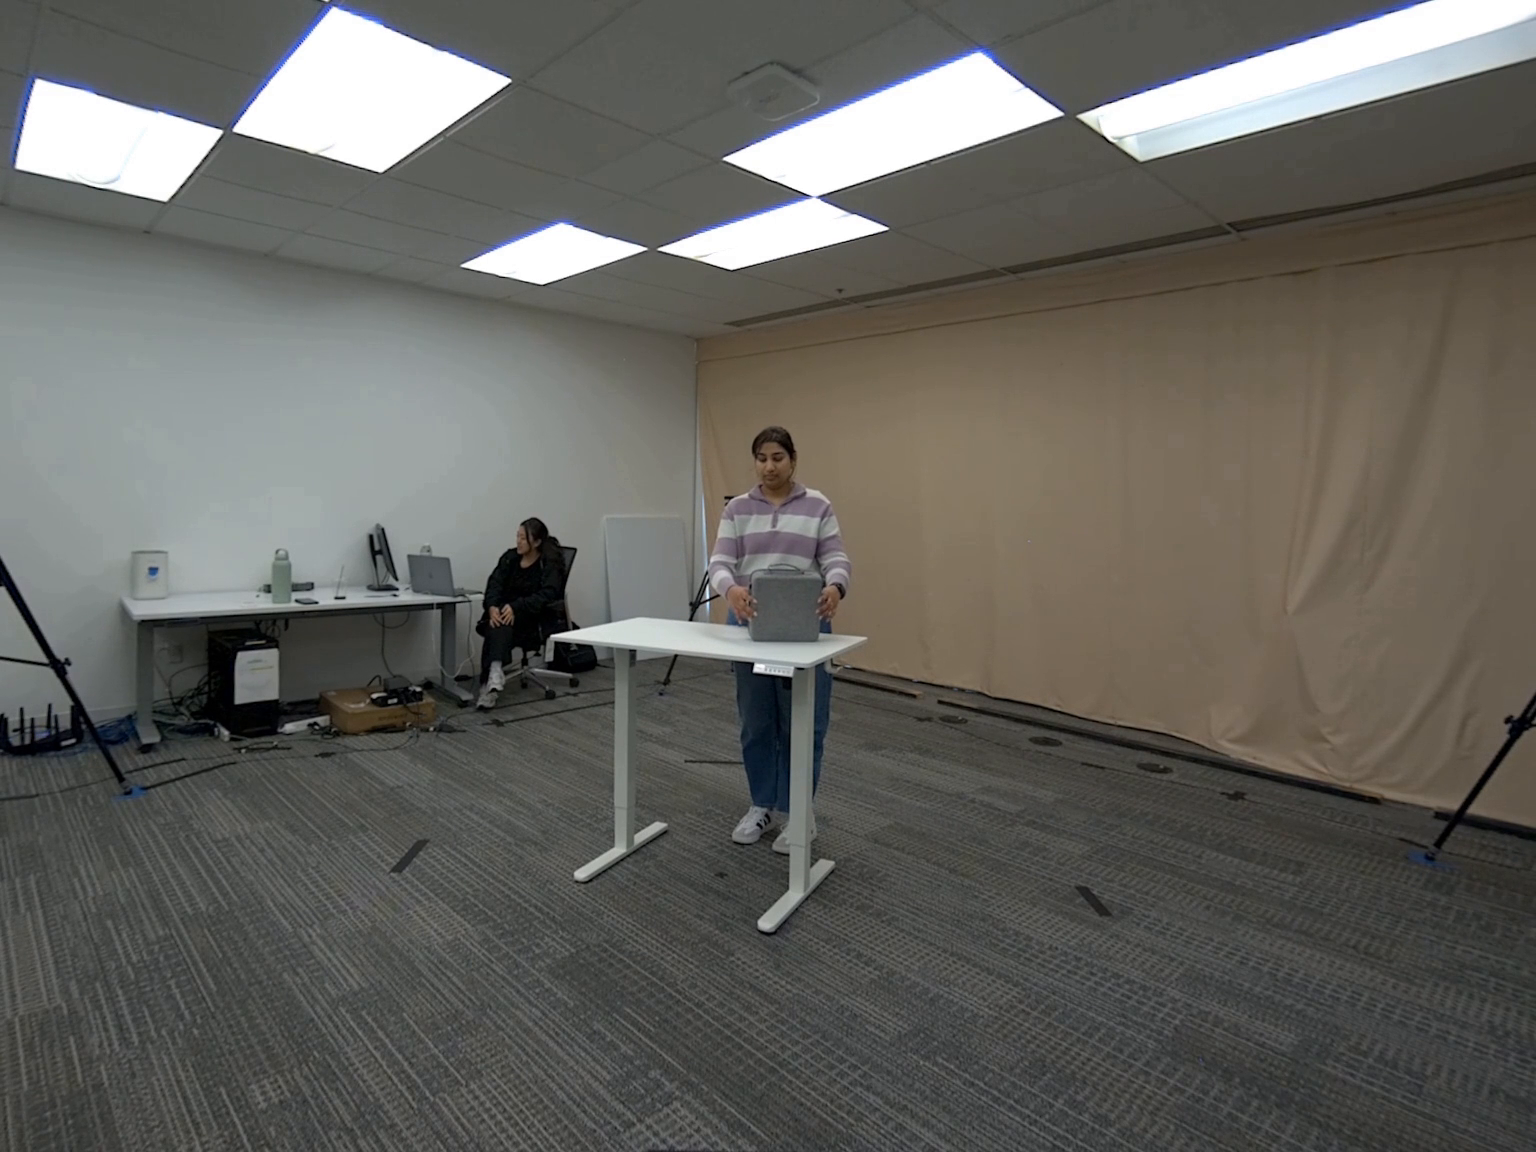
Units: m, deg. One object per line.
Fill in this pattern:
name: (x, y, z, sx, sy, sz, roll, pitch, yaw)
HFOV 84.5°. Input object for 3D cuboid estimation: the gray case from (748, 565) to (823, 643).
gray case: (0.051, 0.106, 2.988, 0.256, 0.258, 0.105, -1, 14, -2)
